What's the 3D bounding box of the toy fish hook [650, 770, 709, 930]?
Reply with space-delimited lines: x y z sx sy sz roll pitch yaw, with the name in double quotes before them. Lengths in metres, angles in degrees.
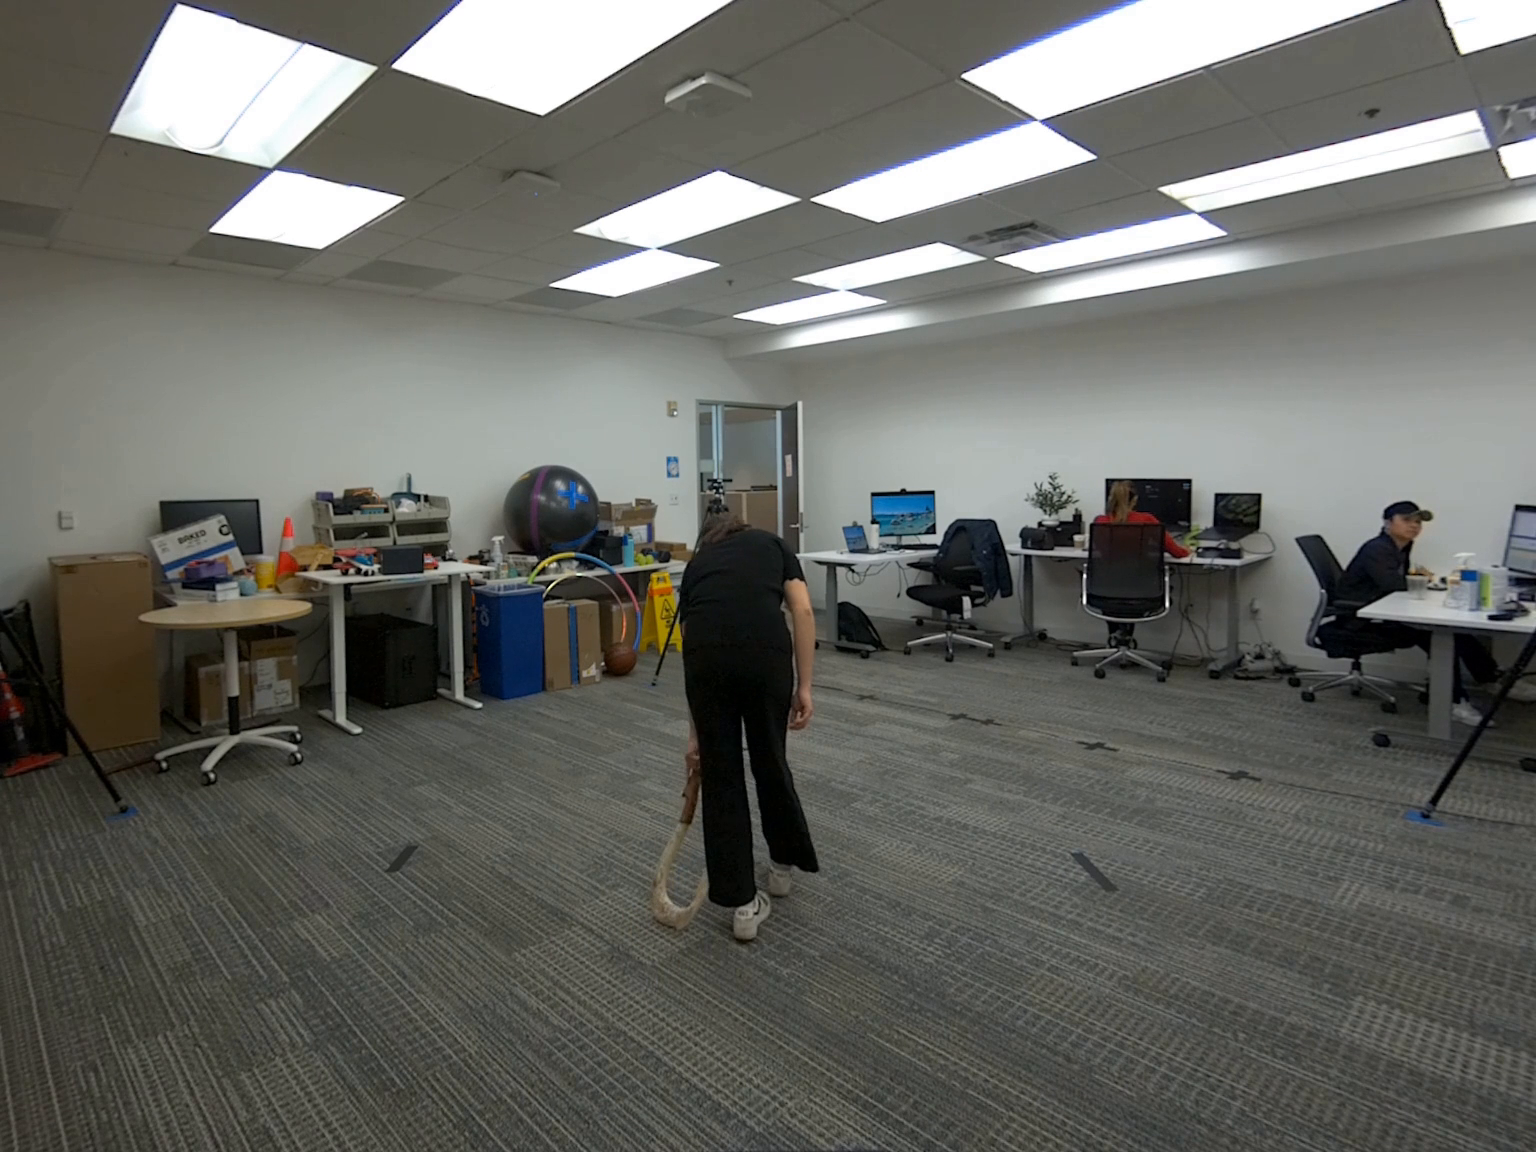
"toy fish hook" -0.246 0.868 2.748 0.231 0.511 0.046 5 -18 34
